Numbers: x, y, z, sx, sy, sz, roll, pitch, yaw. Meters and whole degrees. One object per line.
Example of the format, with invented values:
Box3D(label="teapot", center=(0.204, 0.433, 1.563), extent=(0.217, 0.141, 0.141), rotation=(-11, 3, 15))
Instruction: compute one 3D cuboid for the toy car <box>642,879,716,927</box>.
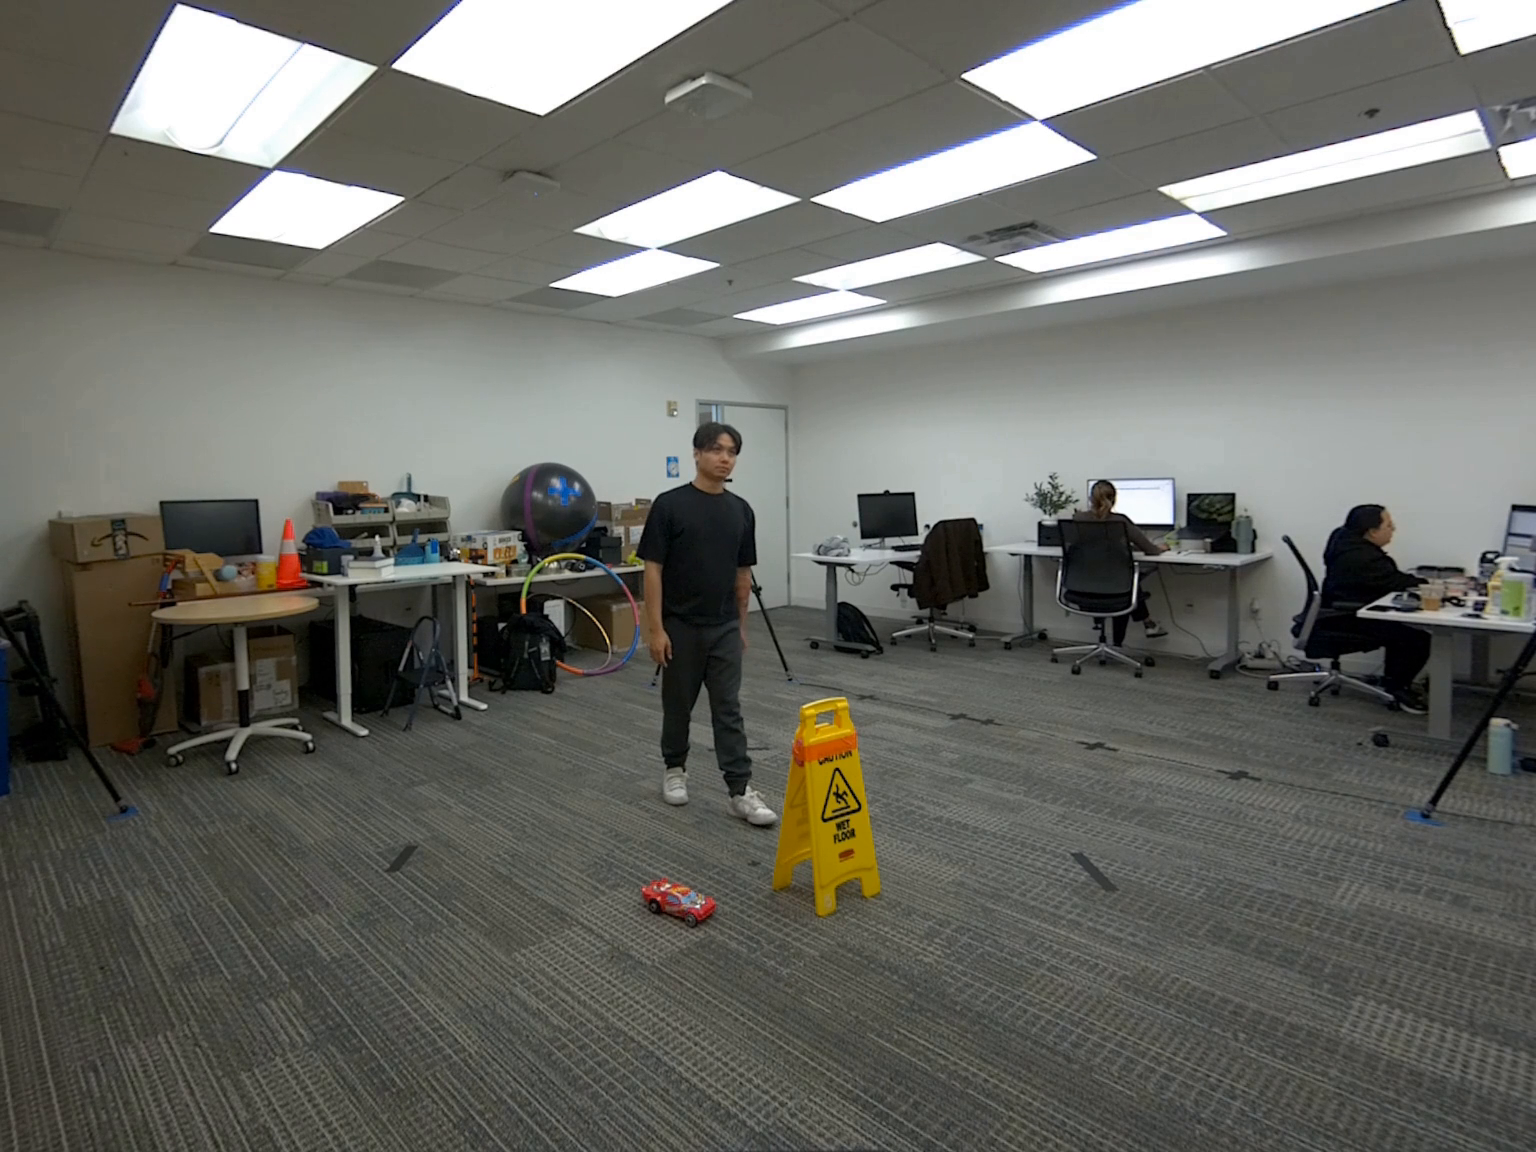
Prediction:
Box3D(label="toy car", center=(-0.289, 1.064, 2.768), extent=(0.262, 0.082, 0.127), rotation=(15, 14, 31))
